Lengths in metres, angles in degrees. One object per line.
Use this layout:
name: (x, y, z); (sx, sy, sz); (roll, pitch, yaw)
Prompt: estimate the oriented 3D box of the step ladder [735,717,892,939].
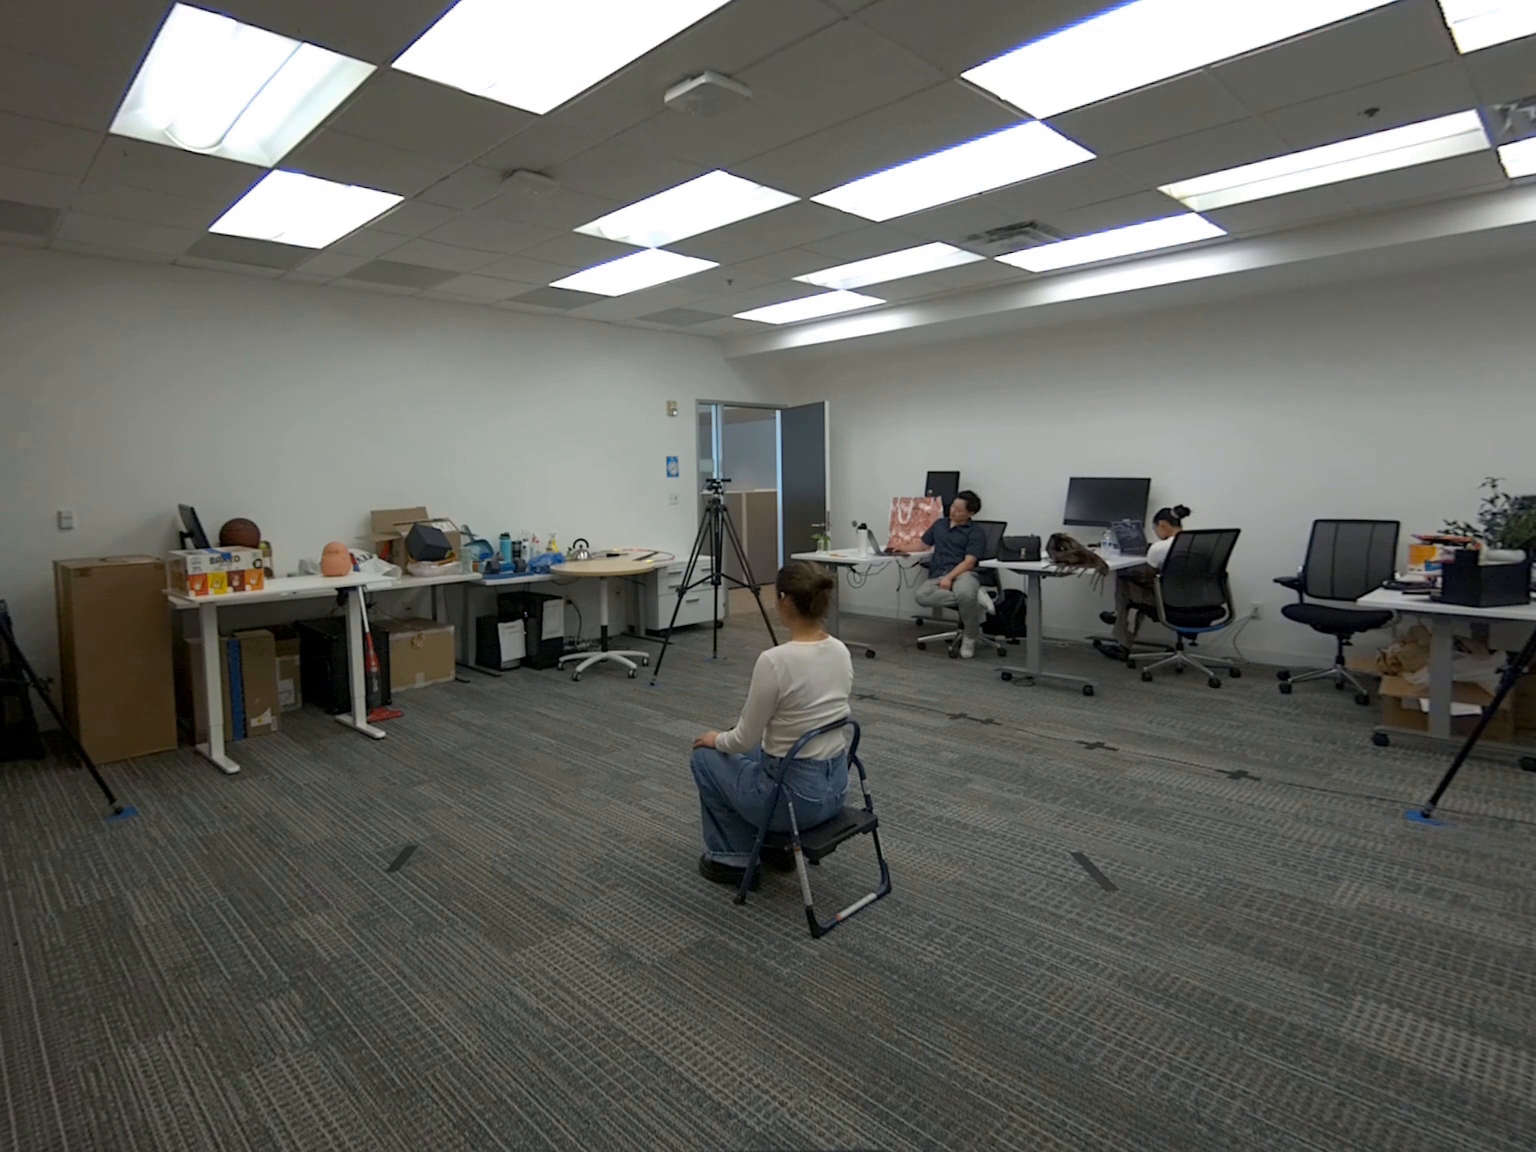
step ladder: (0.153, 0.768, 2.827); (0.360, 0.604, 0.419); (3, 6, 42)
